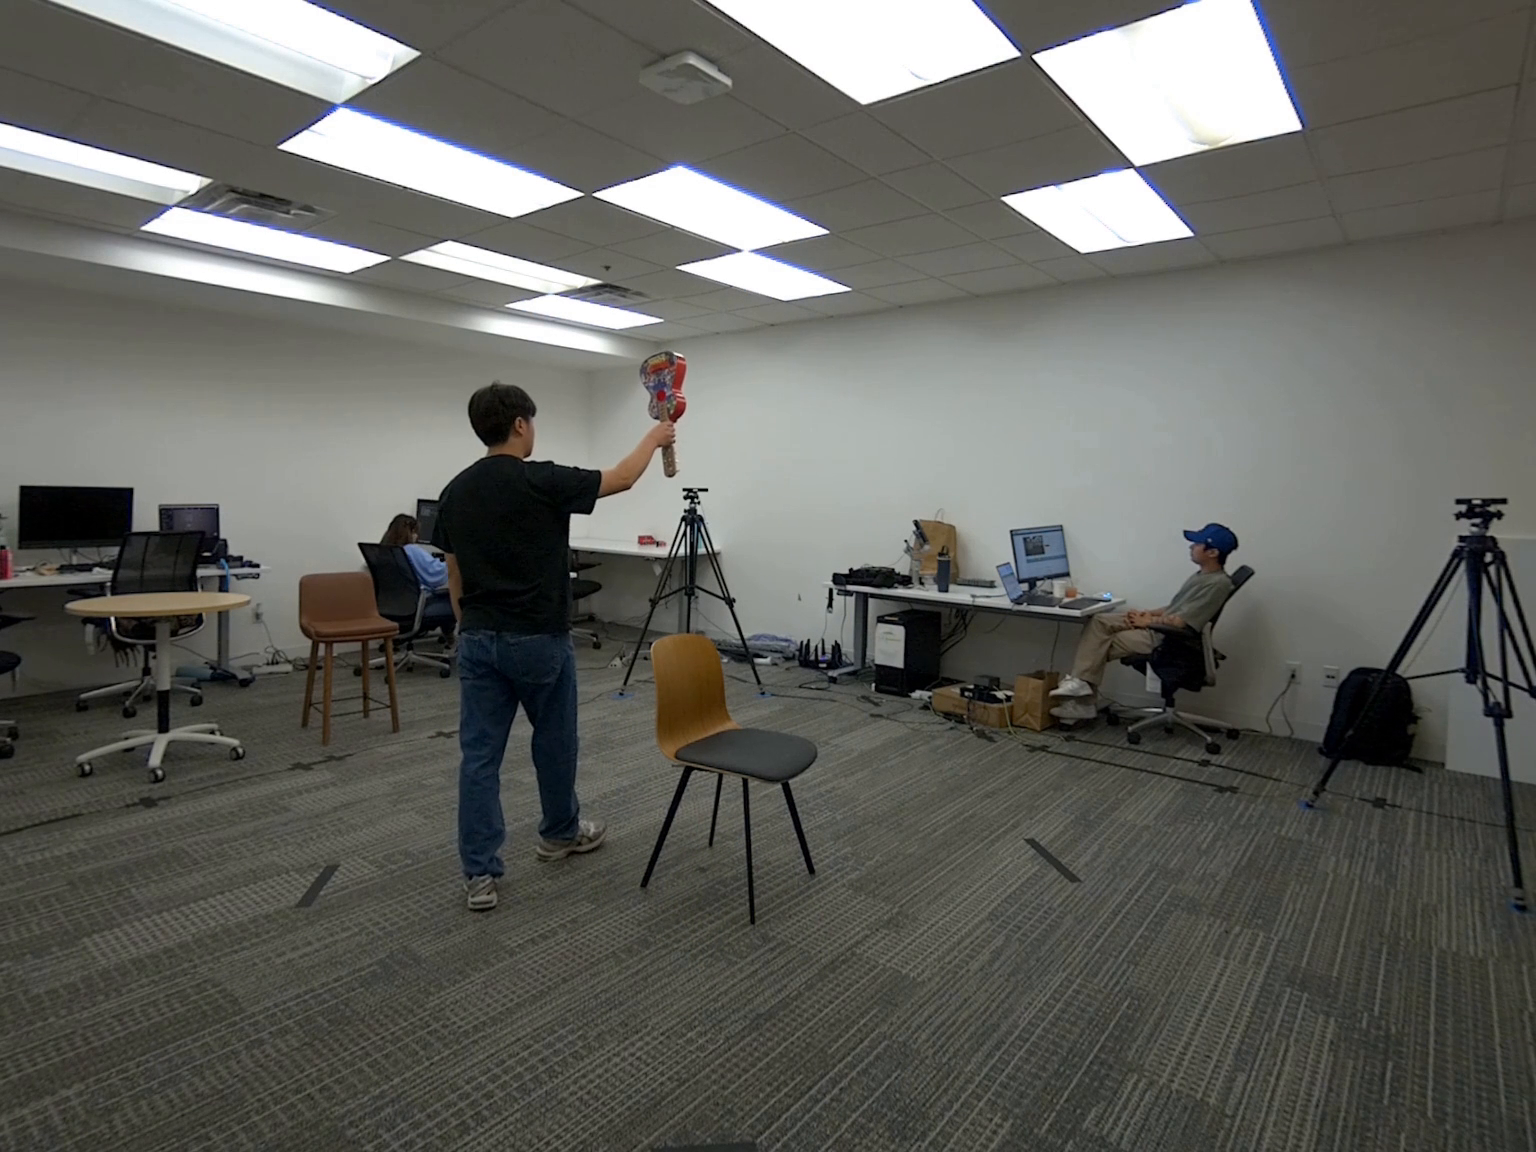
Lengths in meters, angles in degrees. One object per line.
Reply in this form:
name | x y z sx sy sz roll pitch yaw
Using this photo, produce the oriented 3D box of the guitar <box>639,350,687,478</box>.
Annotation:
guitar | -0.426 -0.628 3.344 0.198 0.499 0.068 -2 -4 34
